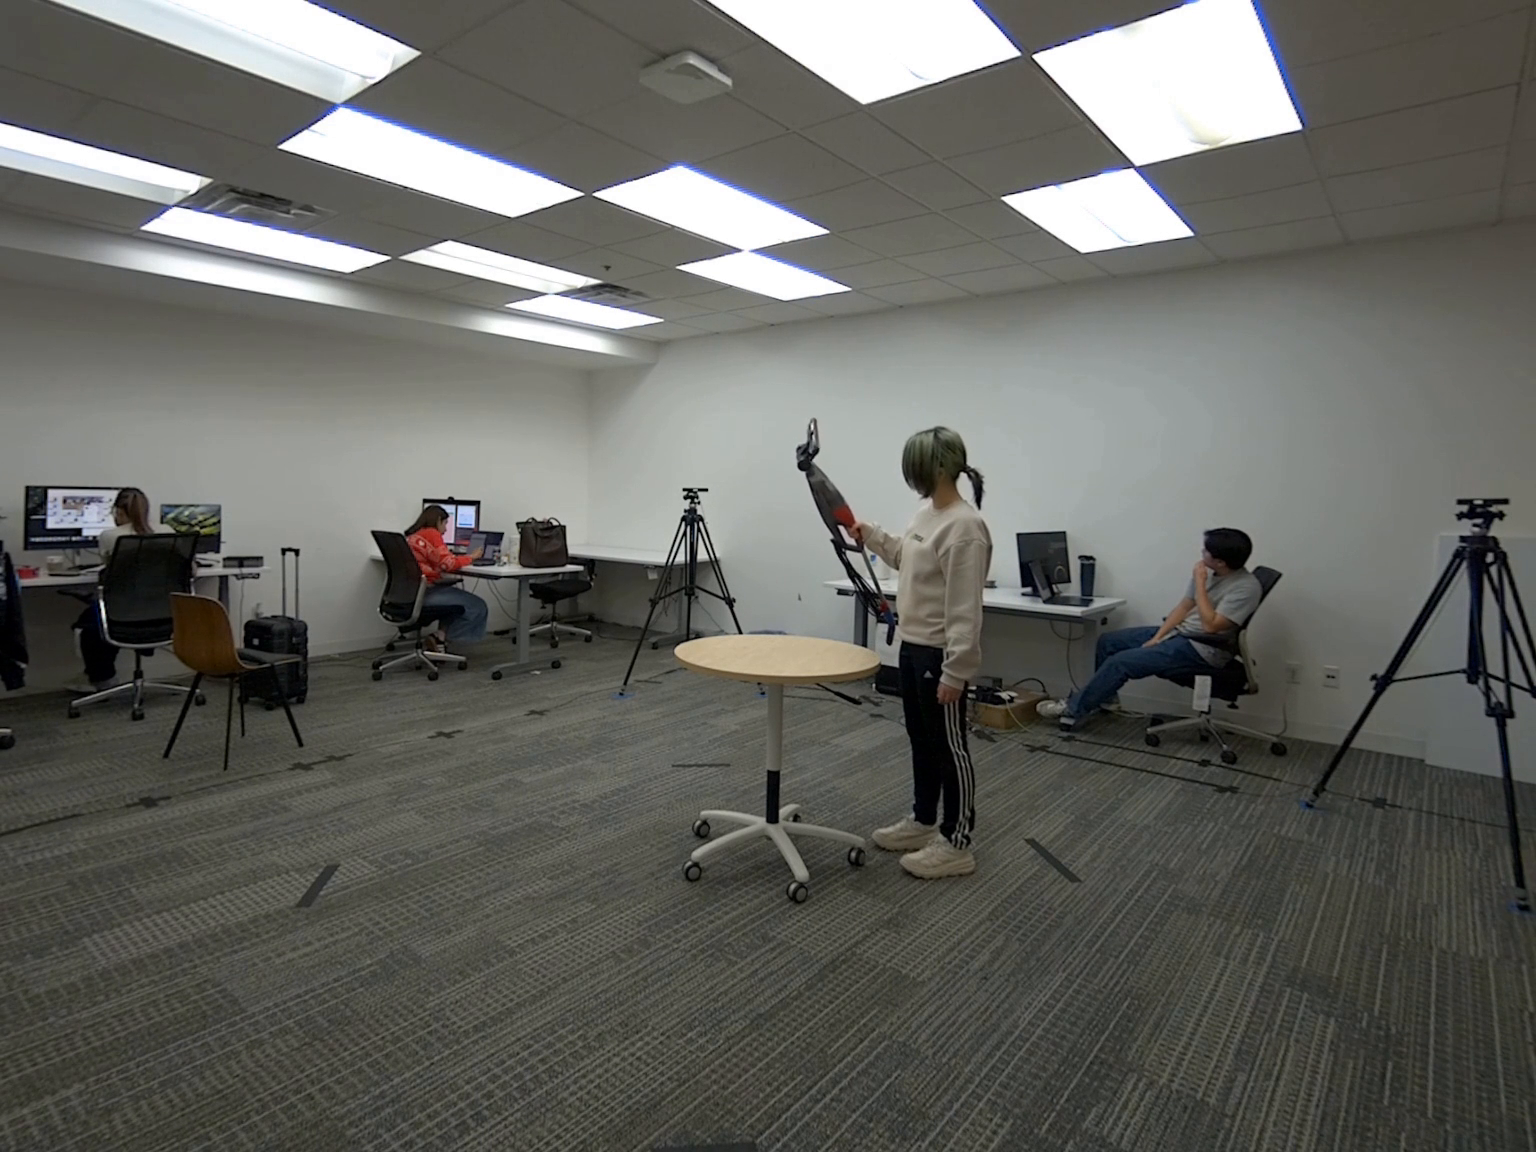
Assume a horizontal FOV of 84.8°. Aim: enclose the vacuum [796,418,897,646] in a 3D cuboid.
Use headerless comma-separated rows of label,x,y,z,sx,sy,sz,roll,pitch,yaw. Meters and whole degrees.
vacuum,0.324,-0.114,3.509,0.145,1.014,0.259,-17,31,11
